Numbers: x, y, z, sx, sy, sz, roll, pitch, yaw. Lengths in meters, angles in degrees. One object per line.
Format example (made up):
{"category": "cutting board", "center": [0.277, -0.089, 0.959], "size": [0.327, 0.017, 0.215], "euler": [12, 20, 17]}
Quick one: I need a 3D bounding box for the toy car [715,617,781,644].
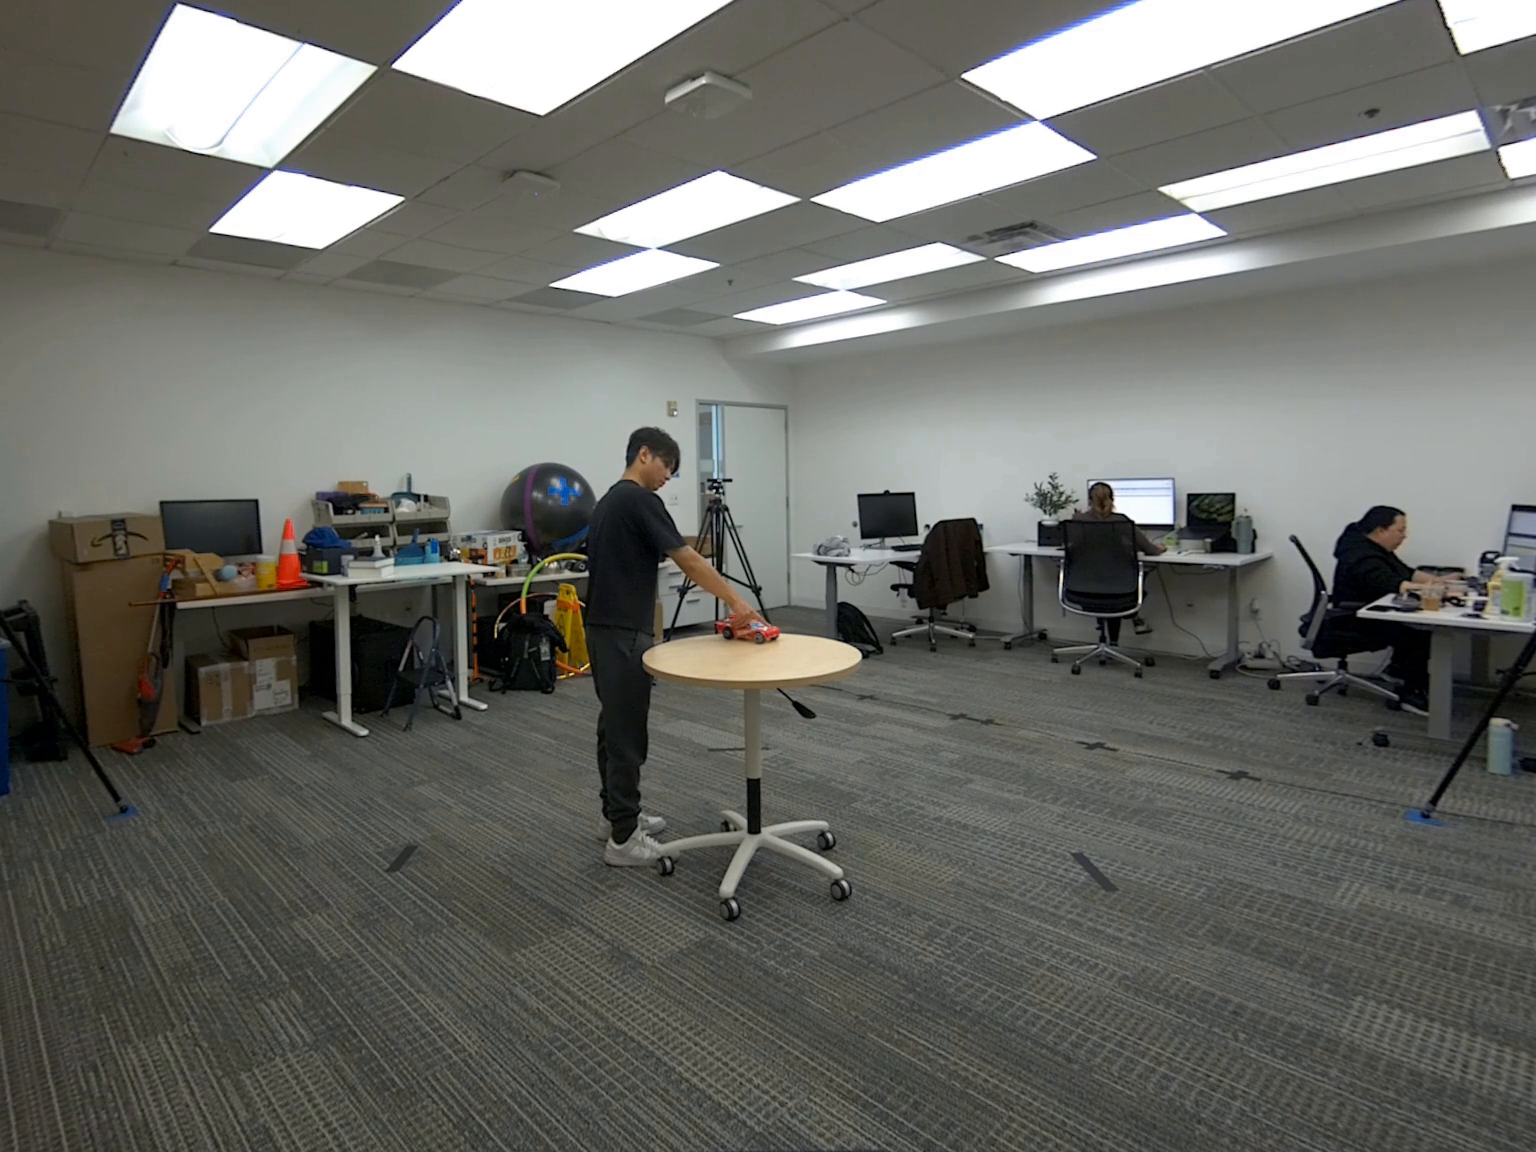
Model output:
{"category": "toy car", "center": [-0.087, 0.209, 3.268], "size": [0.263, 0.082, 0.127], "euler": [17, 16, 35]}
